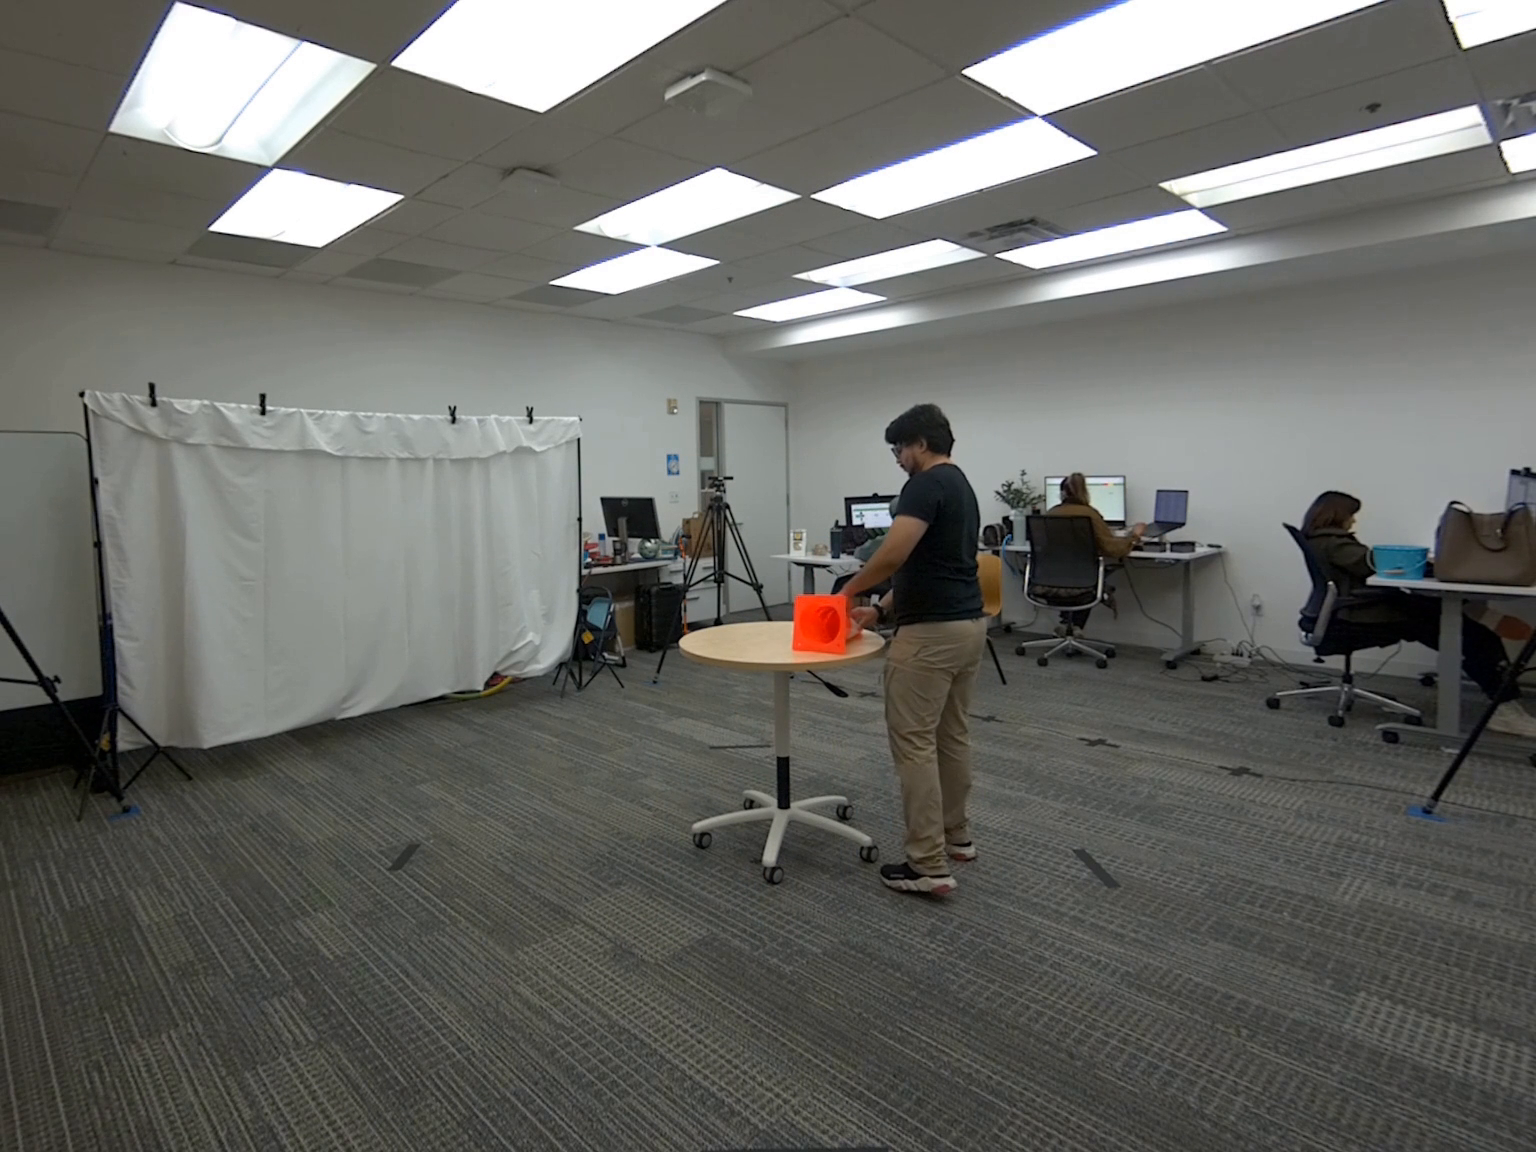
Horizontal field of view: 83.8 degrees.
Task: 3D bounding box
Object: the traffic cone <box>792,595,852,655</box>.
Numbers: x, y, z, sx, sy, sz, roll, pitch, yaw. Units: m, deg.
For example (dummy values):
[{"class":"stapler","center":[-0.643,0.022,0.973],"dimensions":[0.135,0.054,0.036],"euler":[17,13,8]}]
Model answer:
[{"class":"traffic cone","center":[0.268,0.194,3.137],"dimensions":[0.210,0.205,0.371],"euler":[-2,-10,28]}]
